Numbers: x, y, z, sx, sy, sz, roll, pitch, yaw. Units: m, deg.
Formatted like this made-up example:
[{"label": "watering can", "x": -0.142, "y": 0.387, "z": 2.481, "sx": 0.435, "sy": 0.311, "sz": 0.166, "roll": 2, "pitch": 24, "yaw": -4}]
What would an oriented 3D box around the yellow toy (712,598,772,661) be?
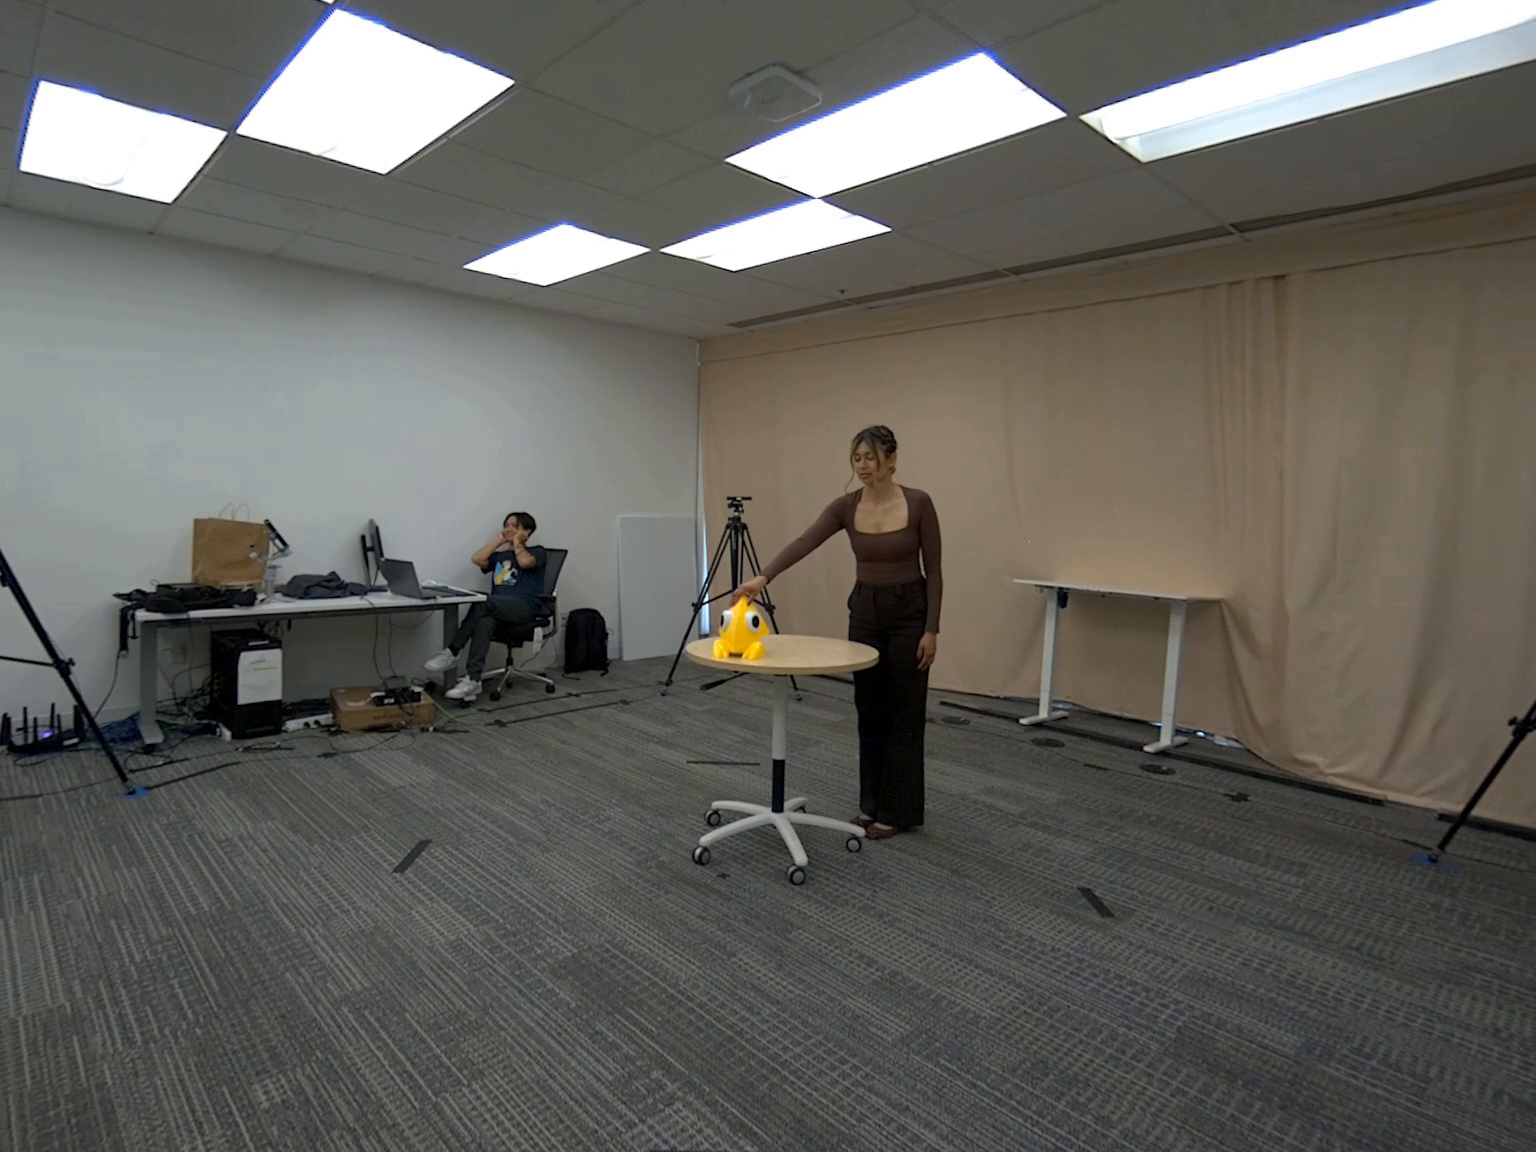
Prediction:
[{"label": "yellow toy", "x": -0.115, "y": 0.186, "z": 3.195, "sx": 0.207, "sy": 0.230, "sz": 0.191, "roll": 2, "pitch": 3, "yaw": 13}]
